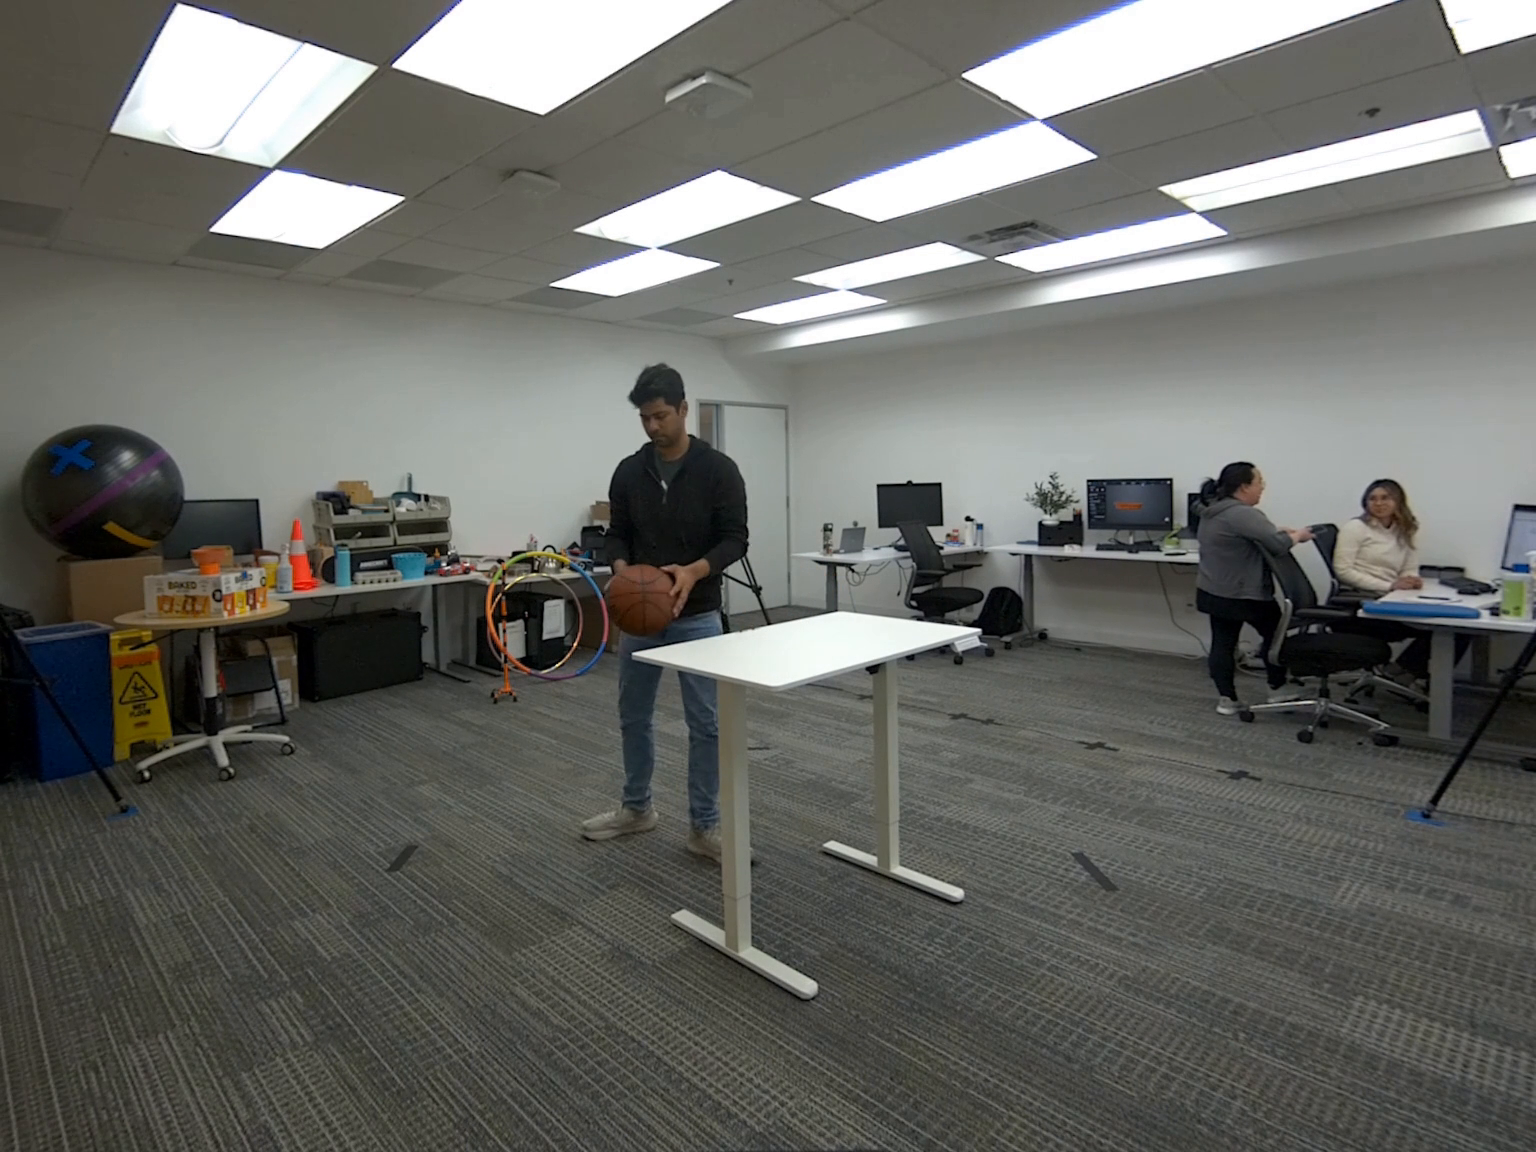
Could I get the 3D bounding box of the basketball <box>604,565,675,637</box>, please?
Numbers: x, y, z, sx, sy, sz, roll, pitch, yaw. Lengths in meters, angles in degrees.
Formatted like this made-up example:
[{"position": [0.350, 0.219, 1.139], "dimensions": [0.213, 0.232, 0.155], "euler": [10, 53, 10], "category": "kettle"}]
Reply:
[{"position": [-0.404, 0.085, 2.853], "dimensions": [0.236, 0.235, 0.237], "euler": [-1, 5, -2], "category": "basketball"}]
